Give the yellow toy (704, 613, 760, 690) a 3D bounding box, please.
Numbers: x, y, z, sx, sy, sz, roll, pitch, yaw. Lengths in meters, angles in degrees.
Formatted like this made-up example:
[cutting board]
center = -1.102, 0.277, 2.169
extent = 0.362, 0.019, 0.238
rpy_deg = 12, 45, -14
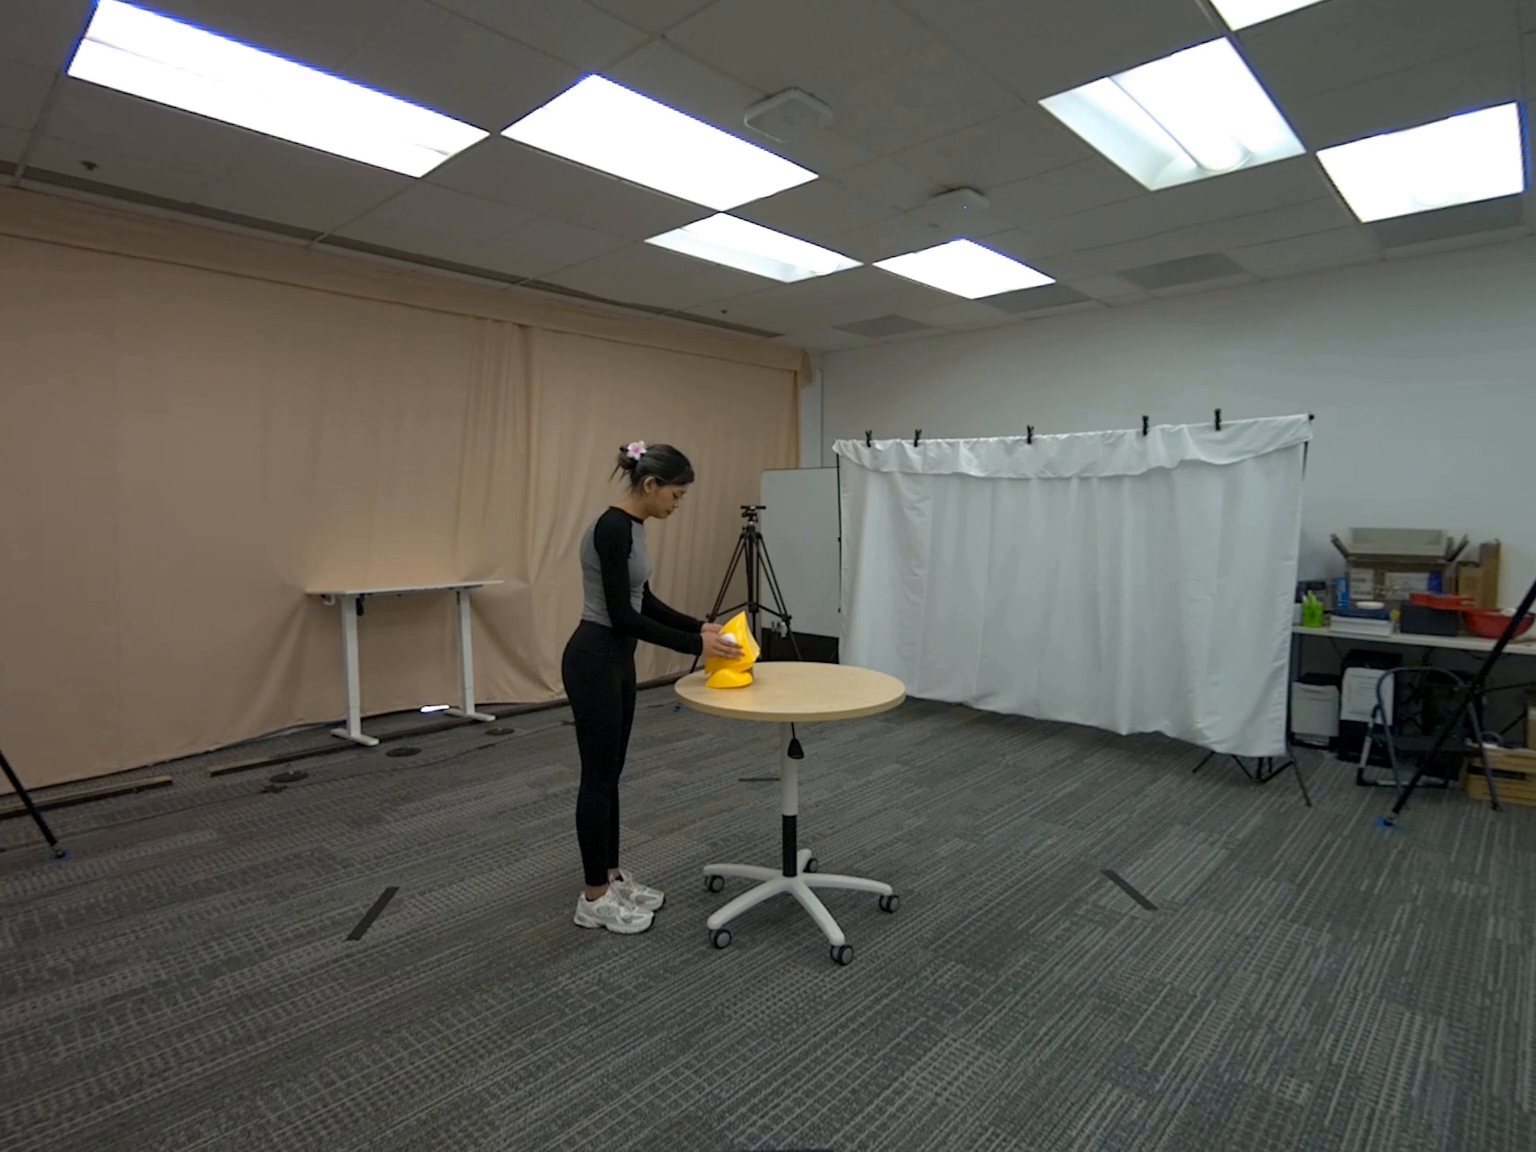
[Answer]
[yellow toy]
center = -0.124, 0.240, 2.849
extent = 0.195, 0.230, 0.203
rpy_deg = -4, 3, 8
